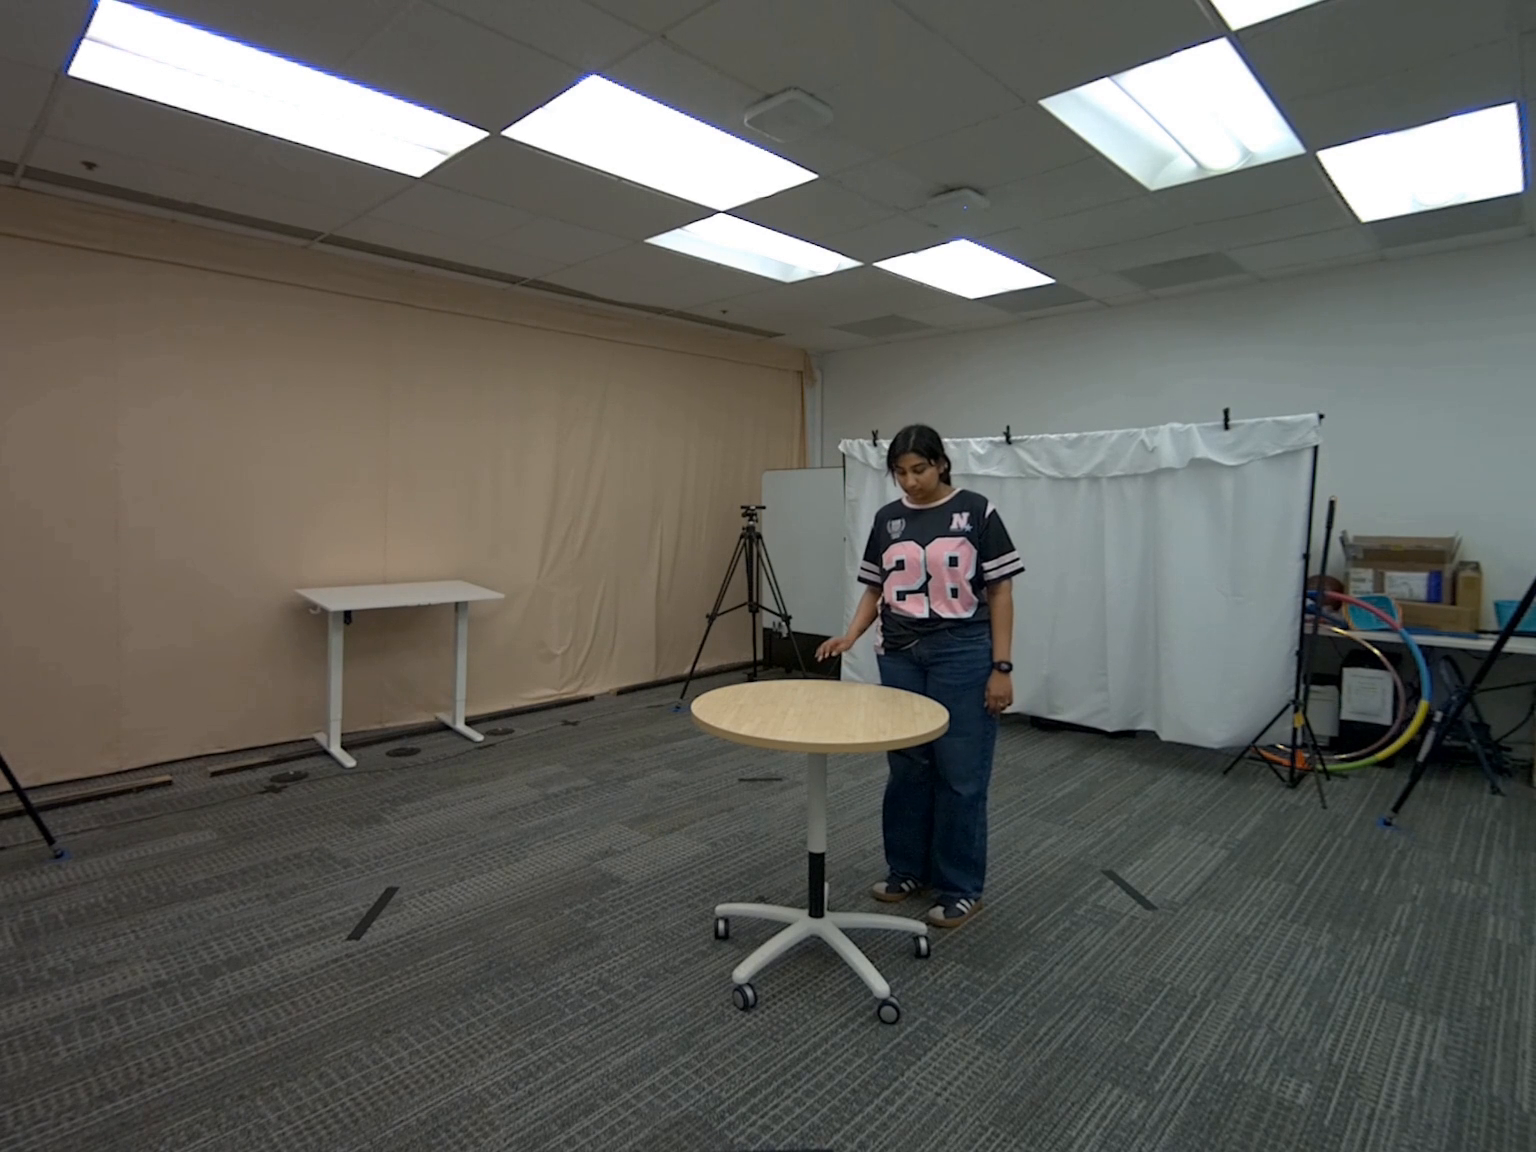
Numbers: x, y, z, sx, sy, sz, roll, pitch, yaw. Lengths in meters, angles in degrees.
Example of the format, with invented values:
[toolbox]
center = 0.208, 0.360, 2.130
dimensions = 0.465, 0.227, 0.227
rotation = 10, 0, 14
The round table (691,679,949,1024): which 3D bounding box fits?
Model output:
[round table]
center = 0.164, 0.786, 2.556
dimensions = 0.784, 0.784, 0.788
rotation = 0, 4, -2
